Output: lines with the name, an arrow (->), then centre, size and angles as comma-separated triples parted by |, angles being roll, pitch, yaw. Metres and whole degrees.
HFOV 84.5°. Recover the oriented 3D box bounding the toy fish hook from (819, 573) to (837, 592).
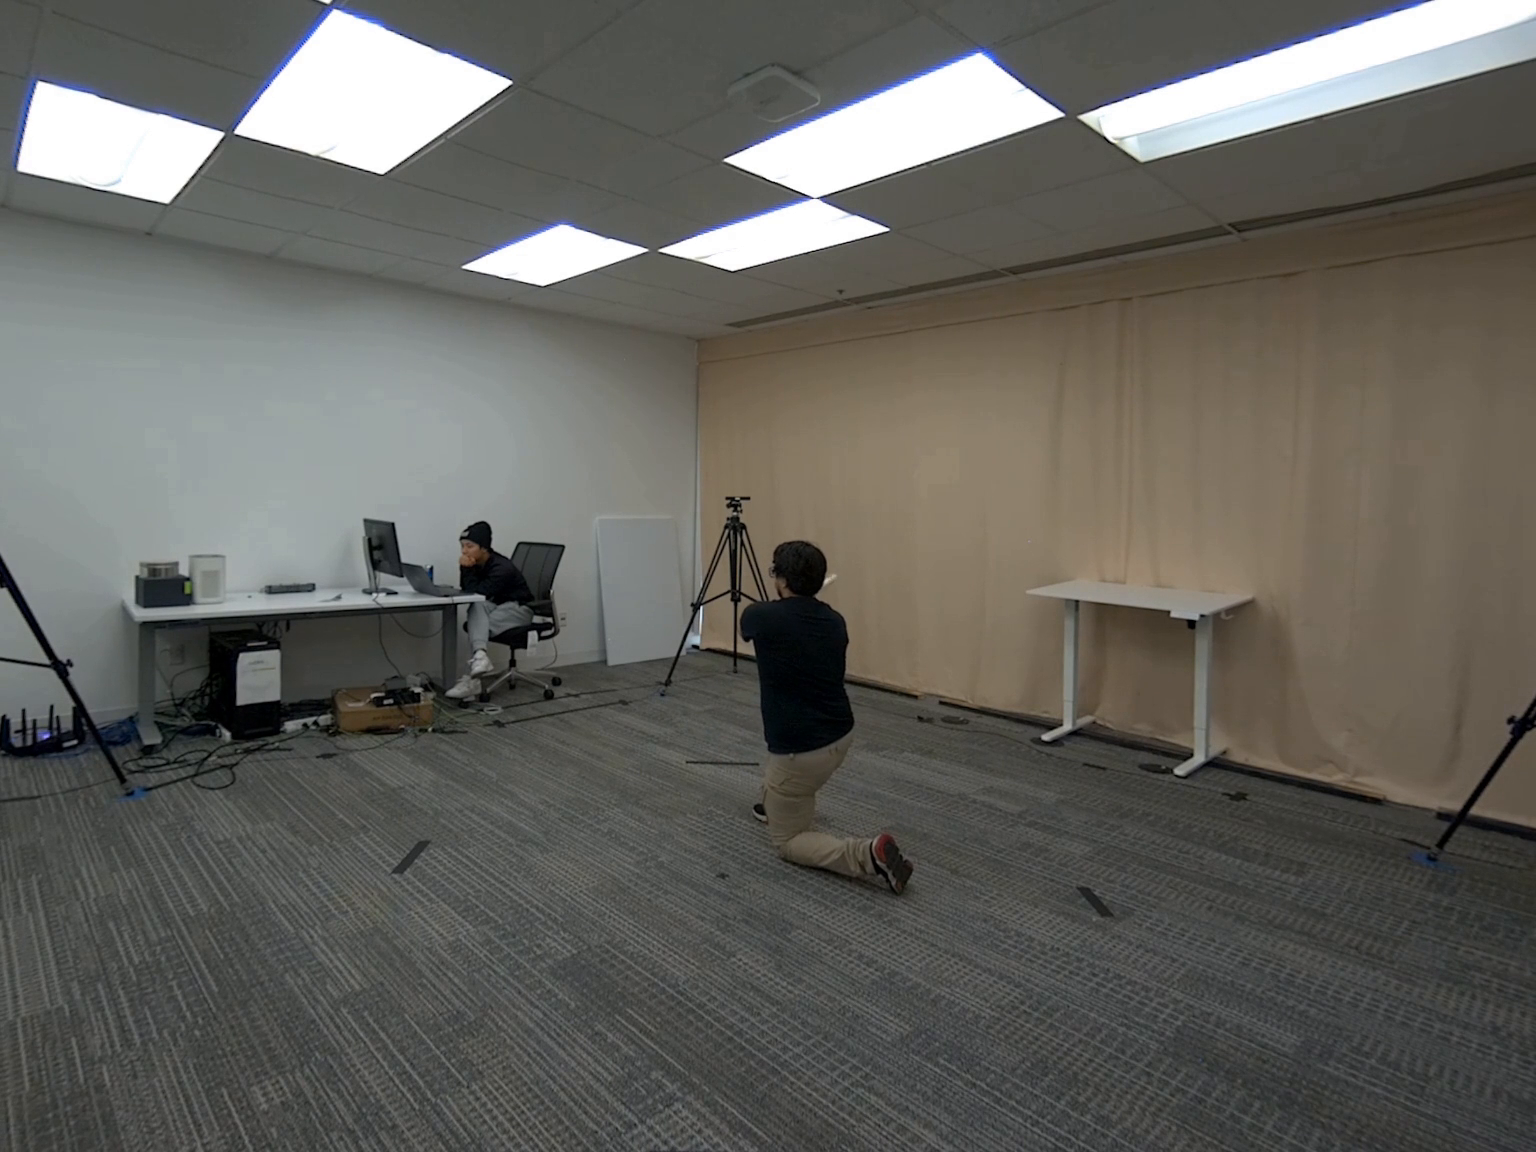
toy fish hook -> 0.094, 0.140, 3.956 | 0.503, 0.048, 0.225 | -33, -4, -26
